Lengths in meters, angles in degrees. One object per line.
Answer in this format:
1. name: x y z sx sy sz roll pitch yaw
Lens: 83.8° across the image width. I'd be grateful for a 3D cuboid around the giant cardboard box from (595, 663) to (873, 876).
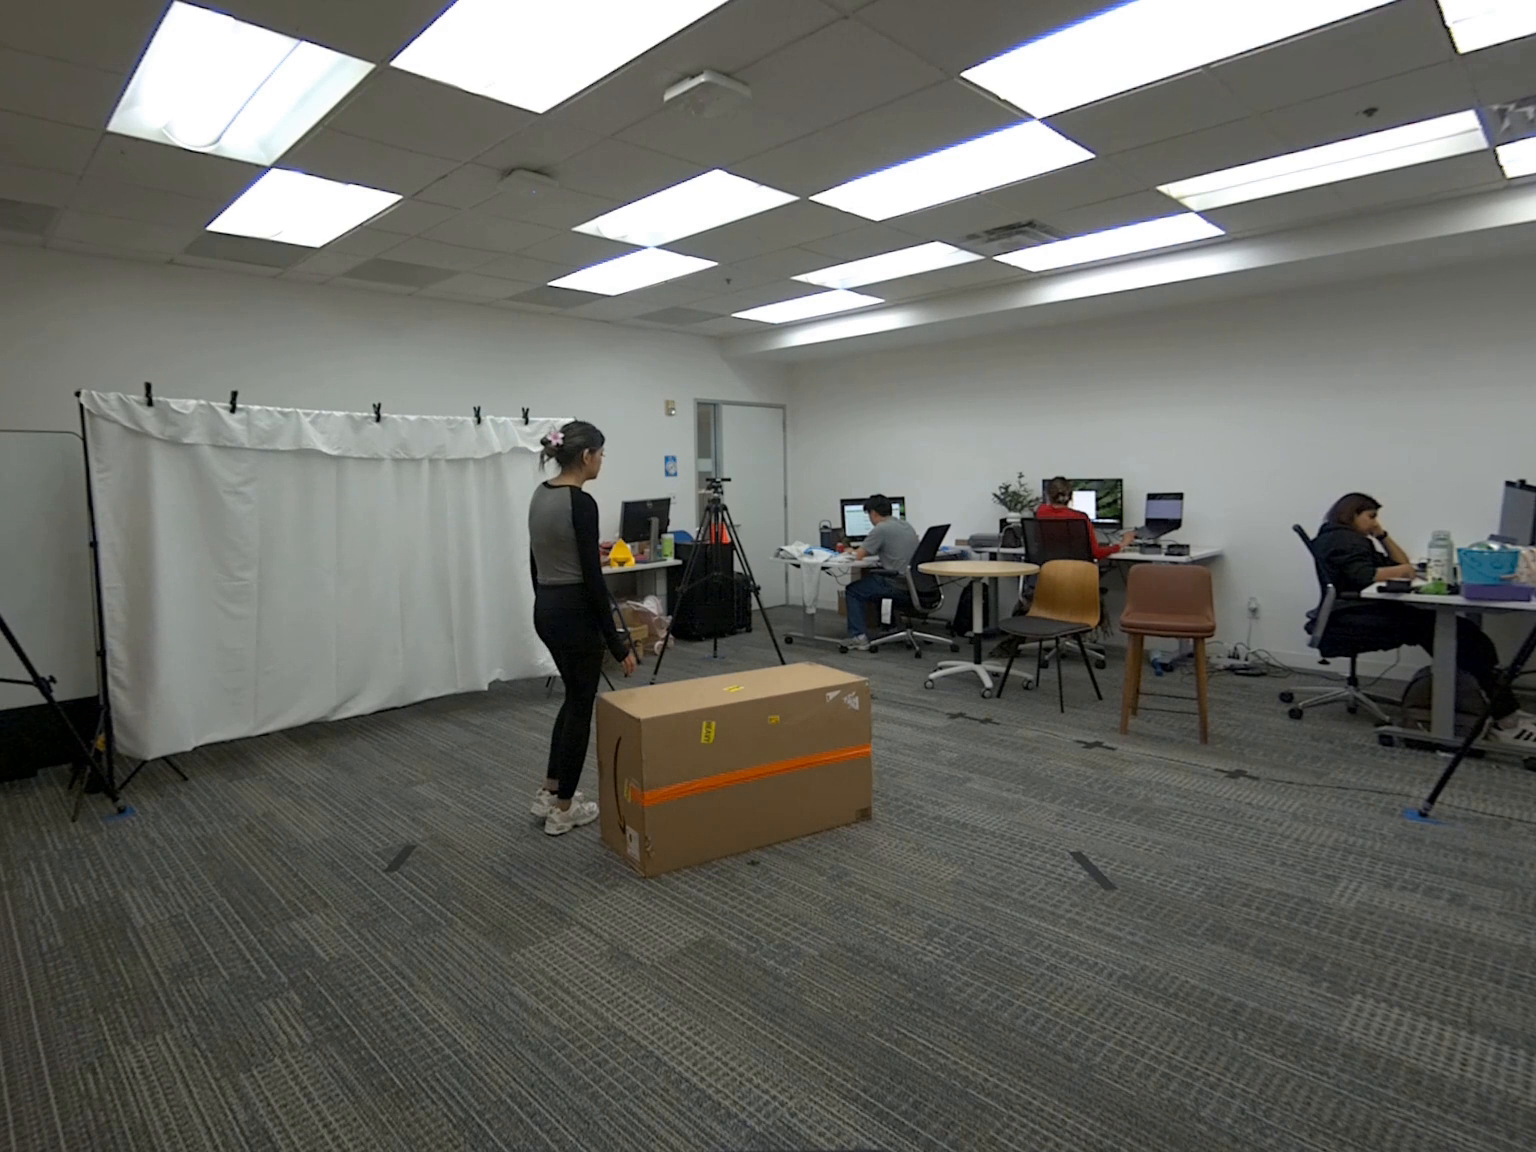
1. giant cardboard box: -0.121 0.724 3.397 1.002 0.575 0.438 -5 5 -30
